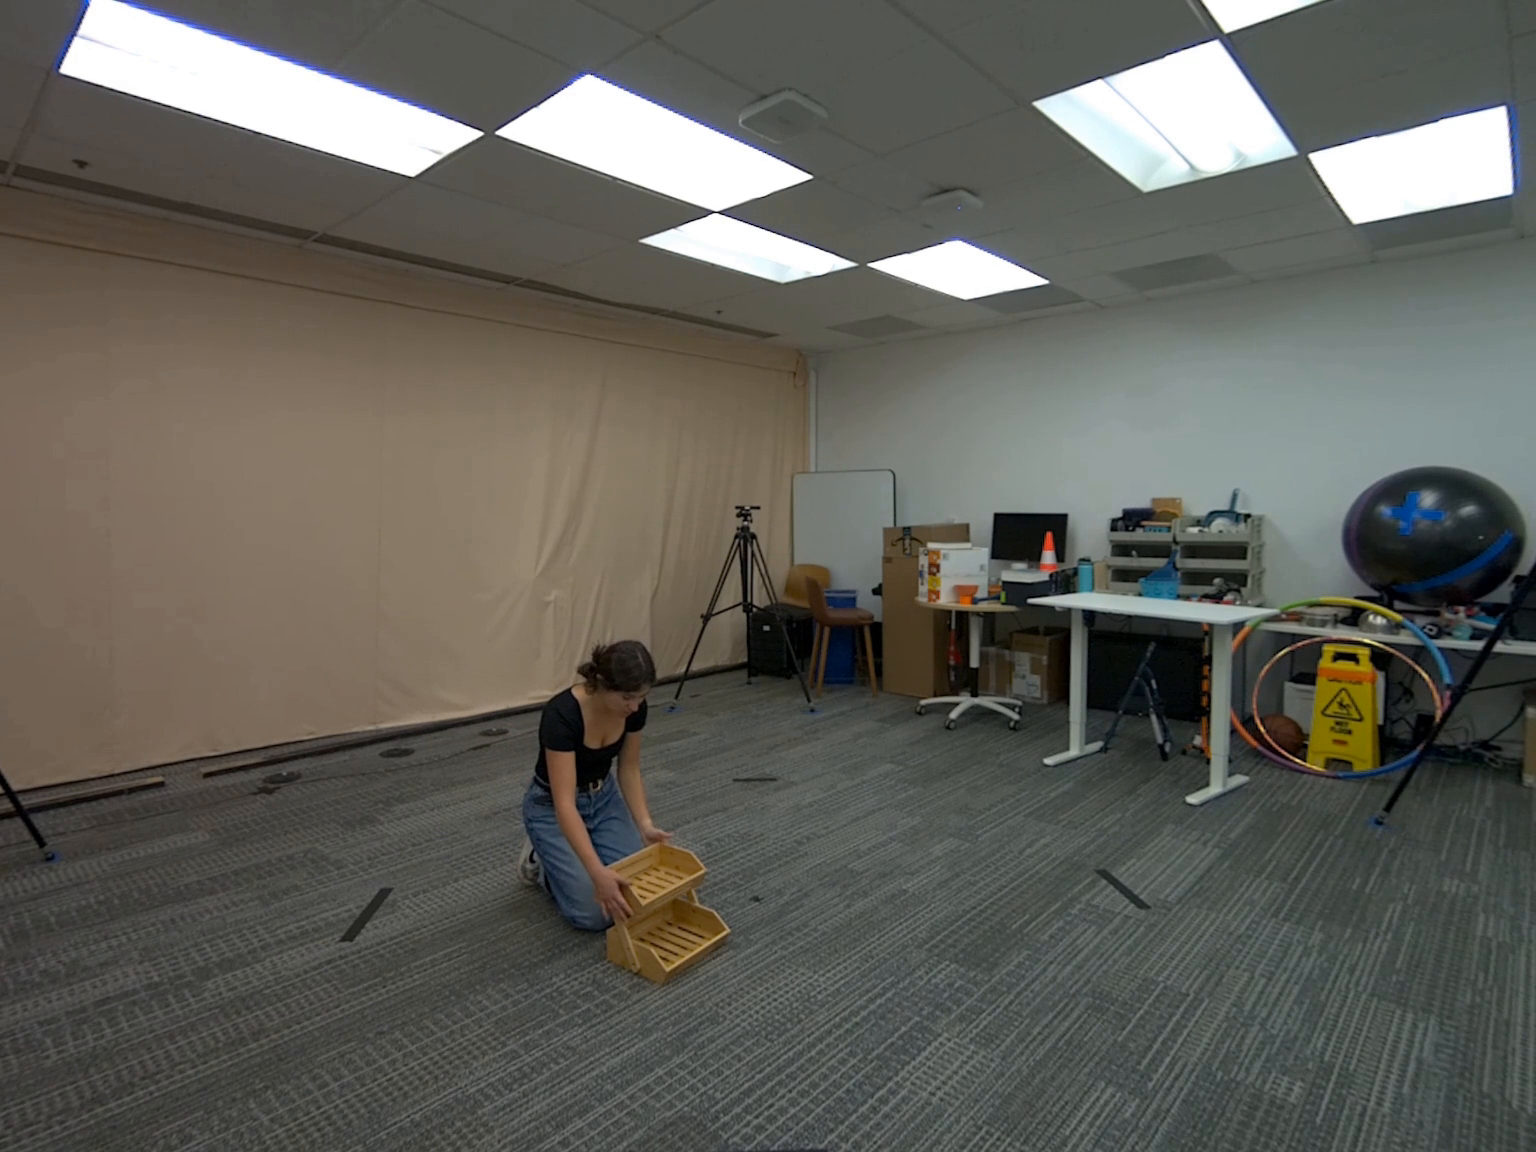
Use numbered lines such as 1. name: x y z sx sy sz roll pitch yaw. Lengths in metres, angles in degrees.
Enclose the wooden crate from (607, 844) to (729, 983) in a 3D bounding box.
1. wooden crate: -0.324 1.044 2.633 0.311 0.273 0.315 2 4 37
